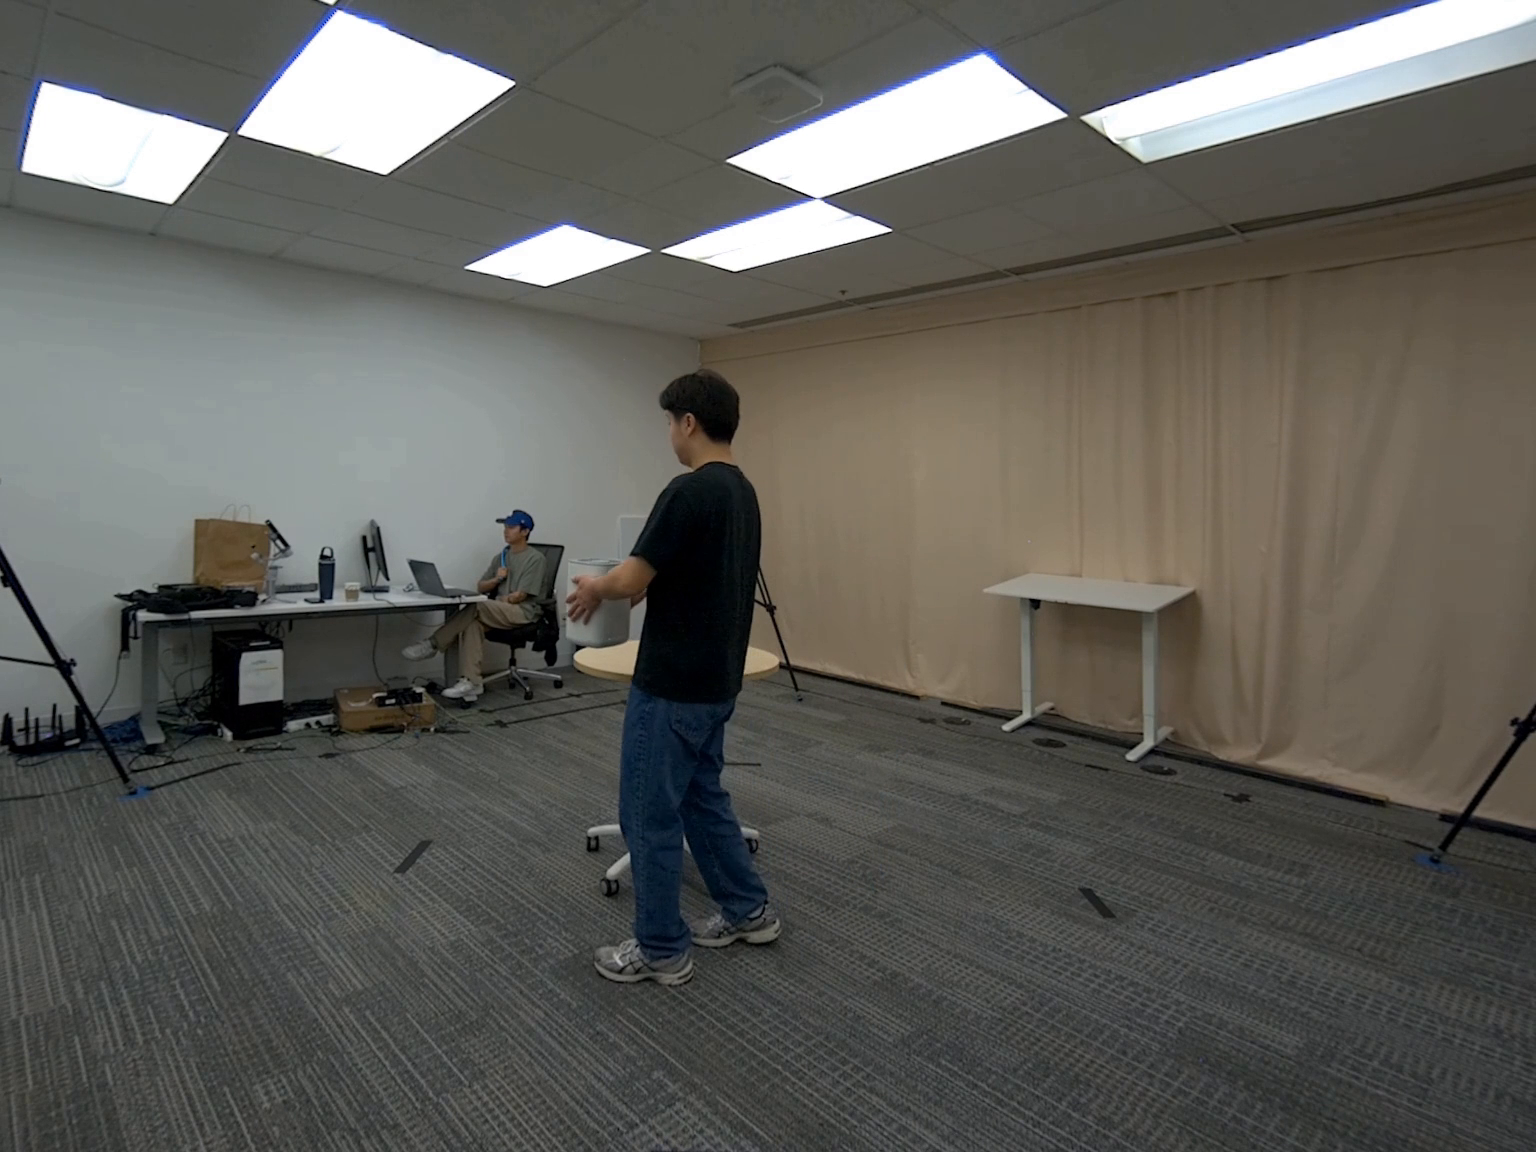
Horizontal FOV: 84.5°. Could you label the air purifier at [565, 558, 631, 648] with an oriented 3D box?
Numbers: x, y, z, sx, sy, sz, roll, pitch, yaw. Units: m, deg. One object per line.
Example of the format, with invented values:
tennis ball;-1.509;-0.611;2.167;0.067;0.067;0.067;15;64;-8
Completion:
air purifier;-0.531;0.086;2.649;0.175;0.264;0.168;7;8;33
